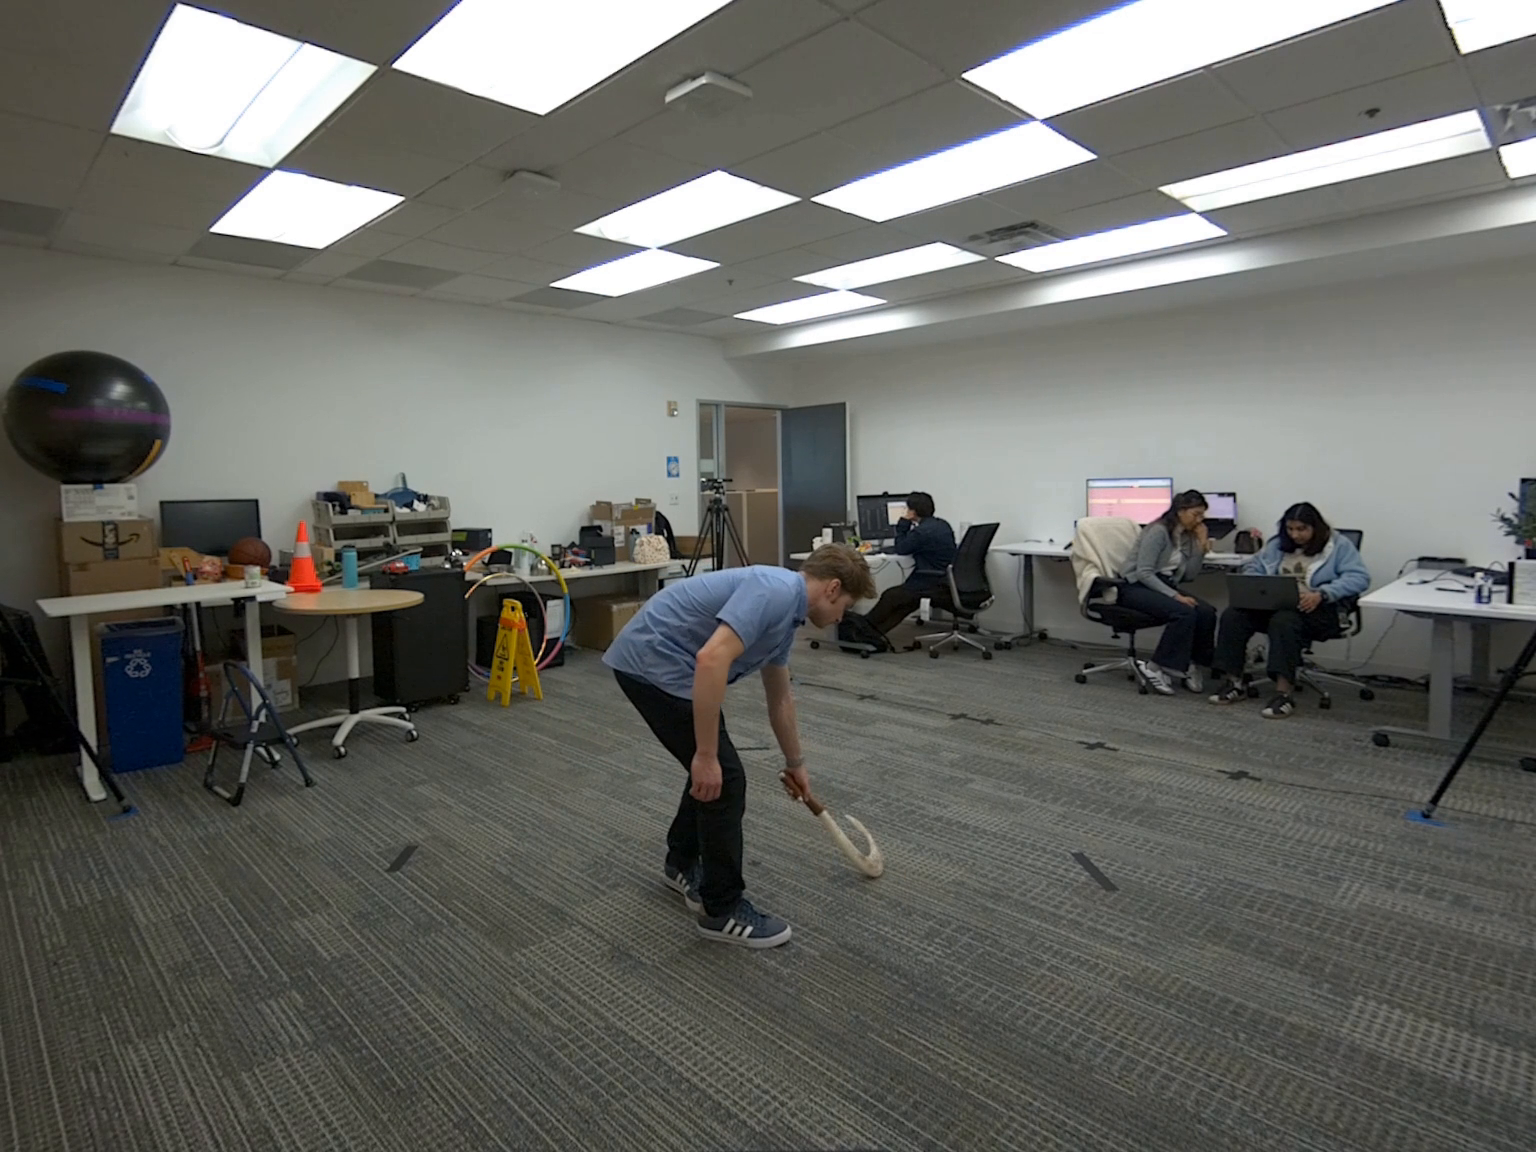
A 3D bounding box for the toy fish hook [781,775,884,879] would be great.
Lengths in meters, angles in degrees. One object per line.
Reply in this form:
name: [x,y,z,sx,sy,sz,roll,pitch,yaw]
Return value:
toy fish hook: [0.232,0.857,3.043,0.048,0.507,0.224,-45,0,14]
